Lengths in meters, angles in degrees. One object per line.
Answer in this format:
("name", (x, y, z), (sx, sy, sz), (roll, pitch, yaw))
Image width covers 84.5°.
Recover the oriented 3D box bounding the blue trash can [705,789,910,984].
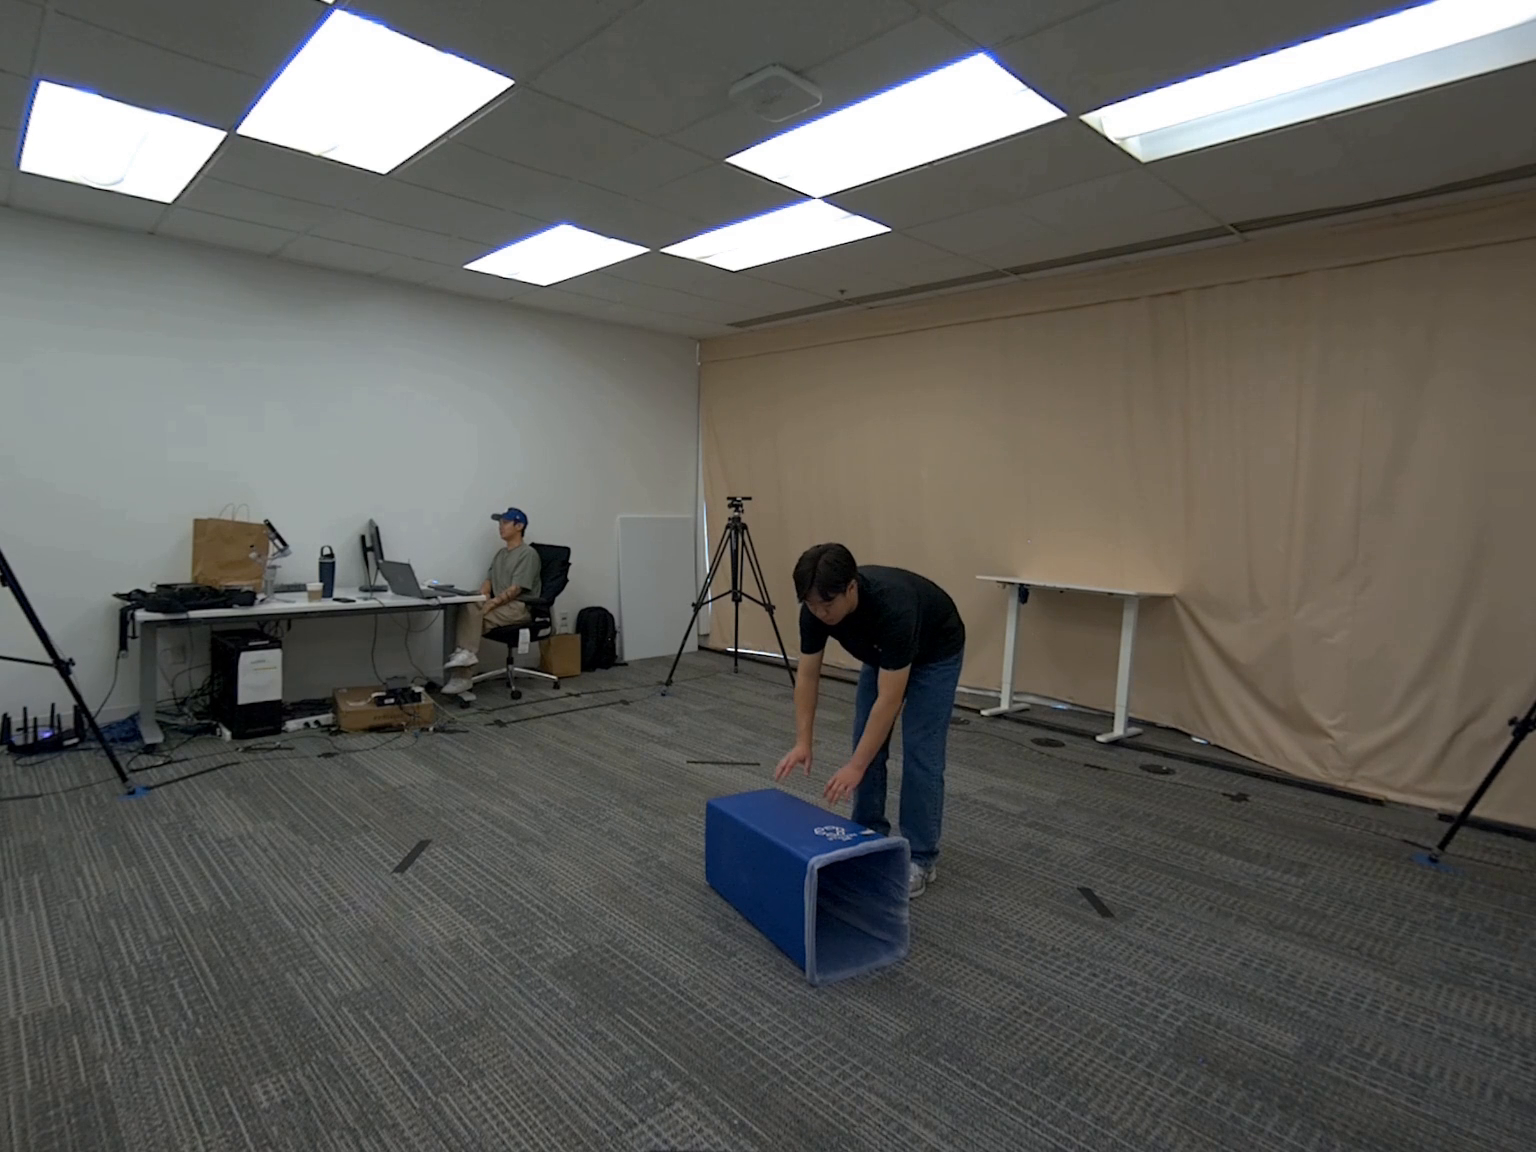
("blue trash can", (0.082, 0.975, 2.783), (0.366, 0.378, 0.729), (-1, 2, -32))
